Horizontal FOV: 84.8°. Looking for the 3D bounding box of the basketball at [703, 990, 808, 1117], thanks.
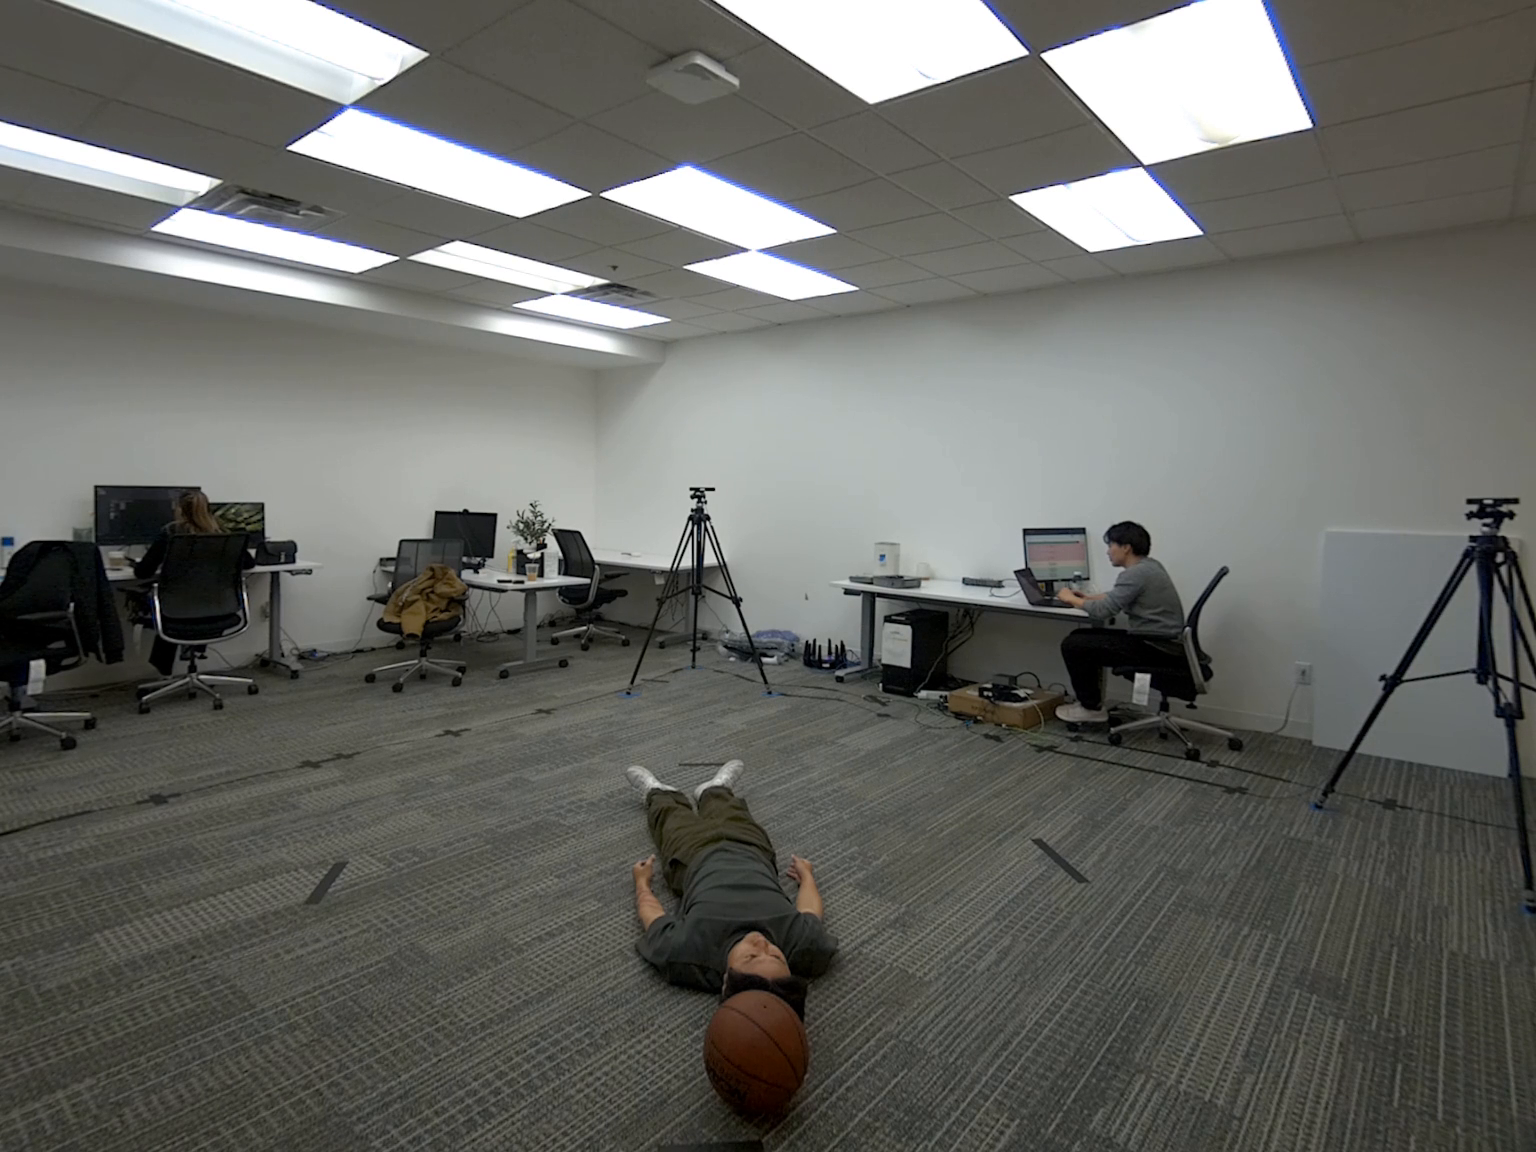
[{"bbox_3d":[-0.033,1.066,1.932,0.235,0.235,0.237,1,4,-2],"label":"basketball"}]
